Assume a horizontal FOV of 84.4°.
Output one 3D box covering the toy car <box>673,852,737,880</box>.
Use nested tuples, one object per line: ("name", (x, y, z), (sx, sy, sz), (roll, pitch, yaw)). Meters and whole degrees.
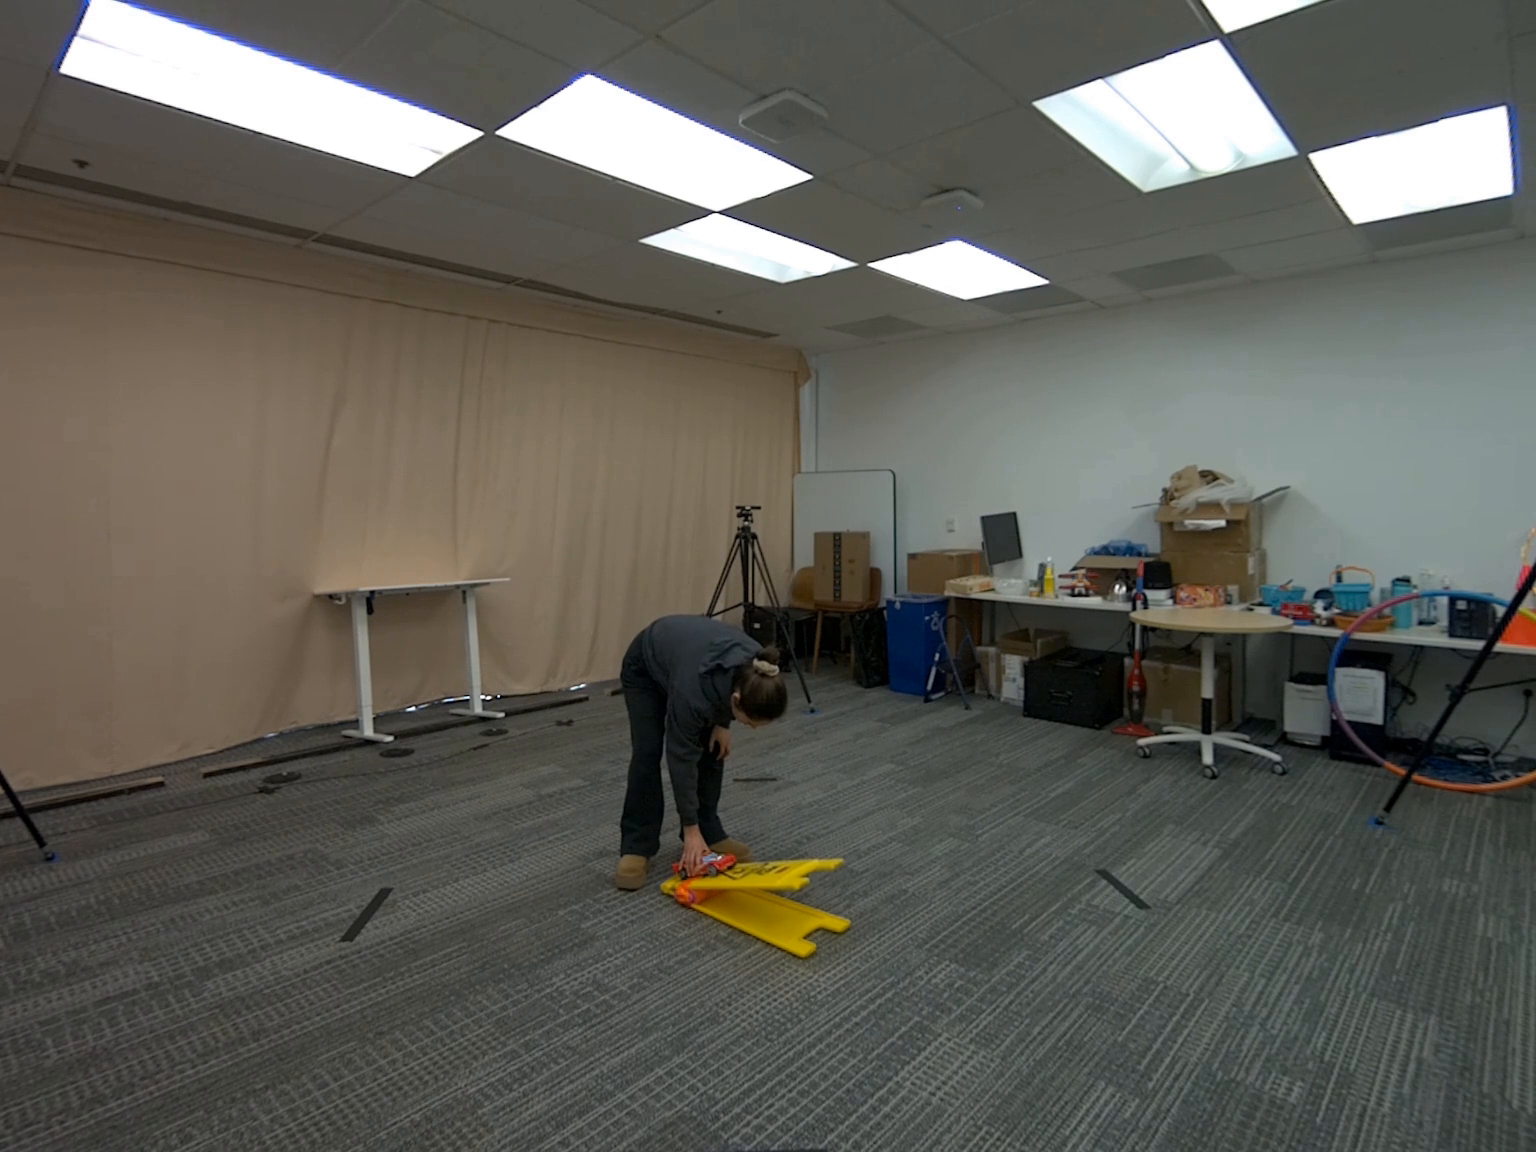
("toy car", (-0.211, 1.037, 3.017), (0.262, 0.083, 0.126), (-8, -3, 40))
